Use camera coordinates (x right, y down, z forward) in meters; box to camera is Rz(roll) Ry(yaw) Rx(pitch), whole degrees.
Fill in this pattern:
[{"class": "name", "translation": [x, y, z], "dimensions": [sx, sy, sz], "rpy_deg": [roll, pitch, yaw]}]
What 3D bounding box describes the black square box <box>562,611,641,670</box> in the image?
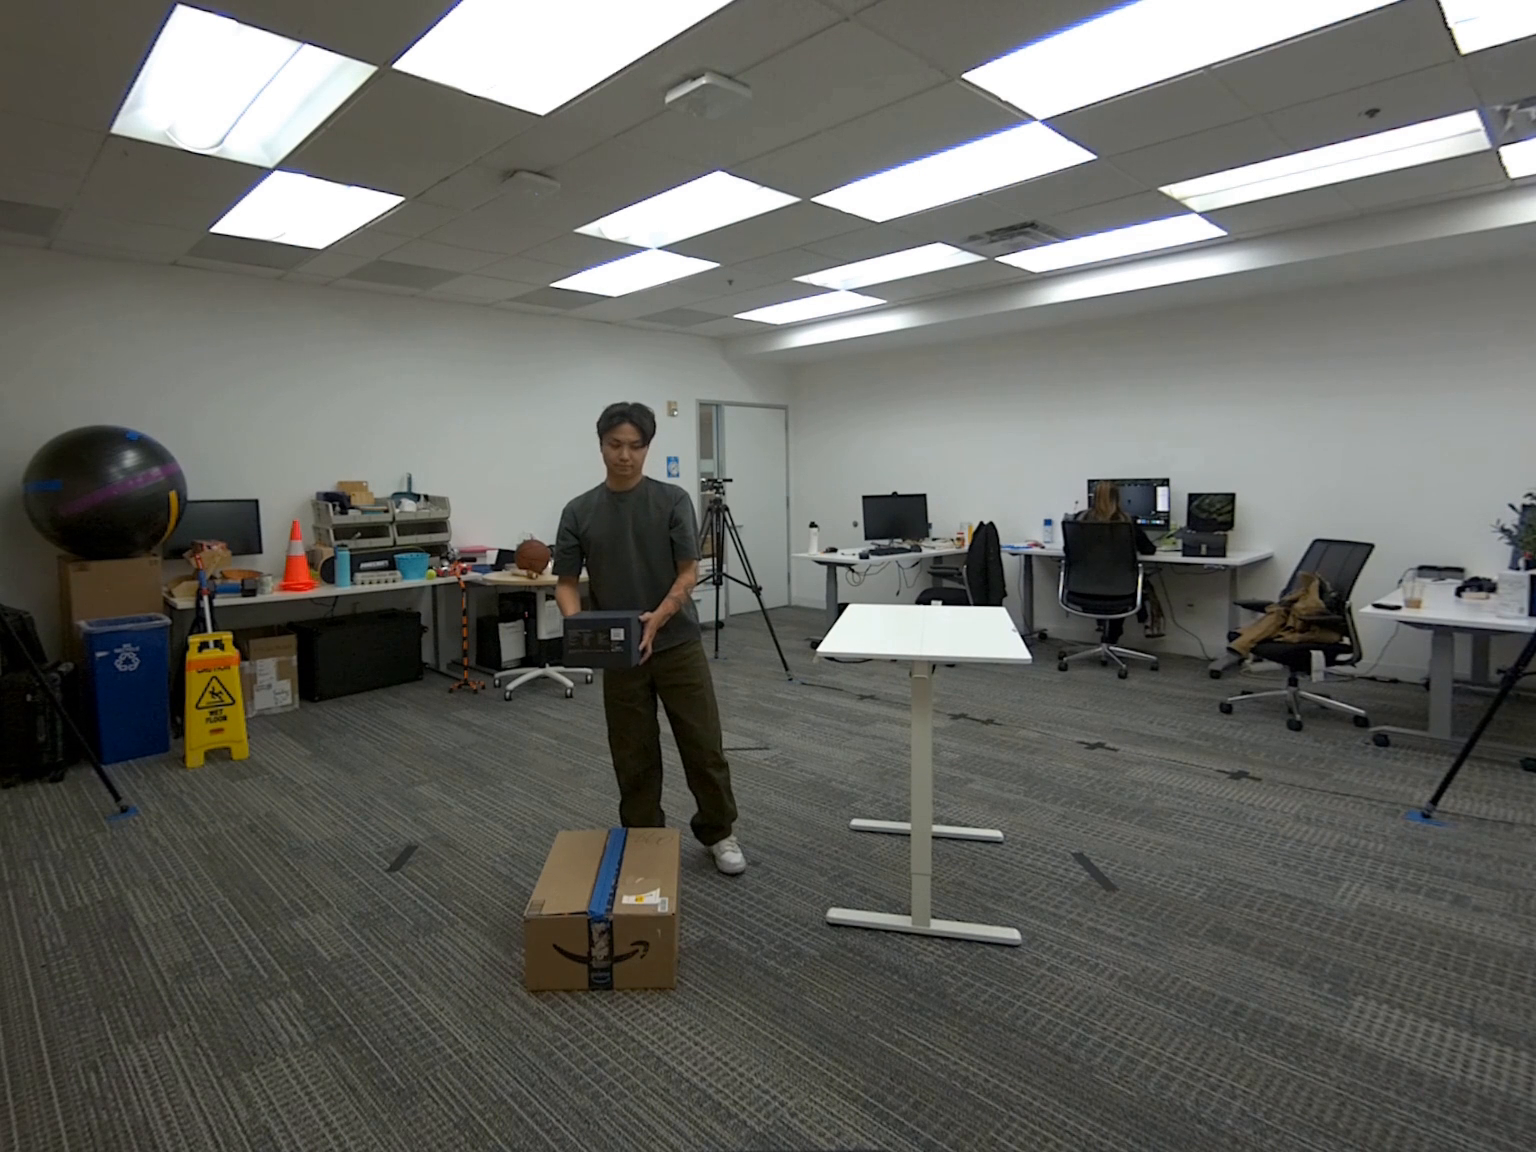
[{"class": "black square box", "translation": [-0.515, 0.199, 2.722], "dimensions": [0.218, 0.156, 0.227], "rpy_deg": [-1, 2, 3]}]
